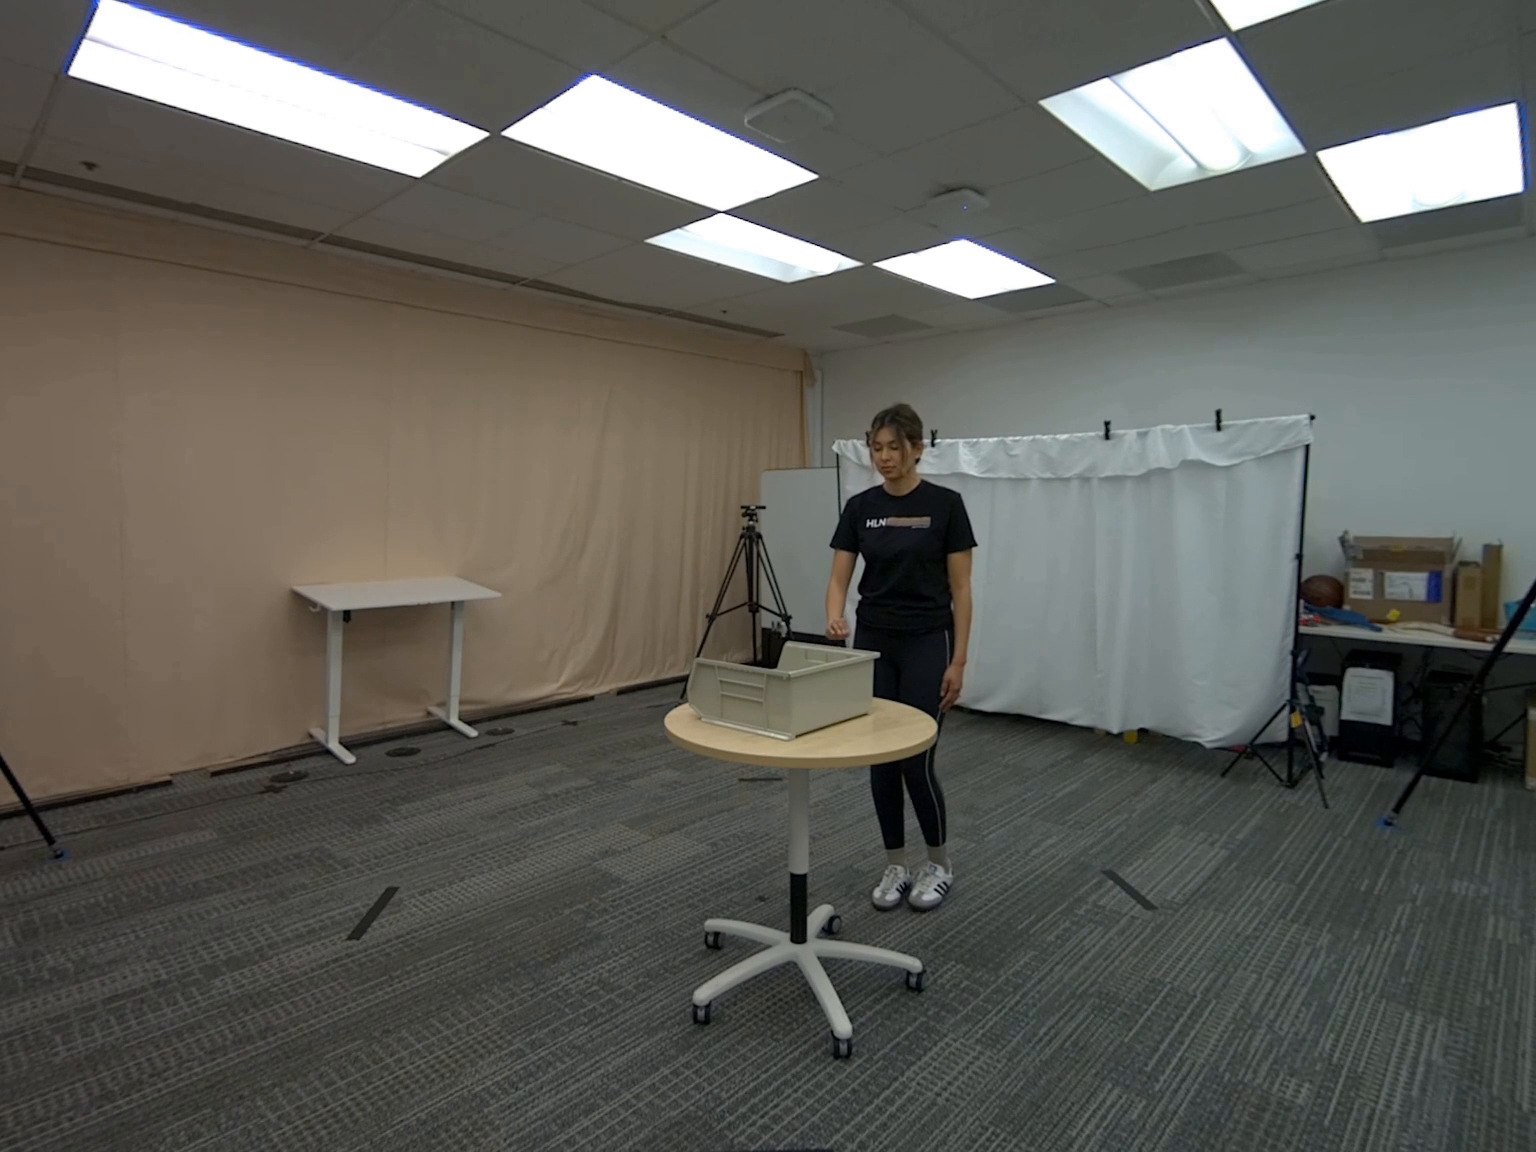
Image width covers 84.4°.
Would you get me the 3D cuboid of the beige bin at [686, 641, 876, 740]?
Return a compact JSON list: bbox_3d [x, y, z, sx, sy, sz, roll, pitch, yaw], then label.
[{"bbox_3d":[0.048,0.317,2.425,0.390,0.188,0.409,5,5,41],"label":"beige bin"}]
